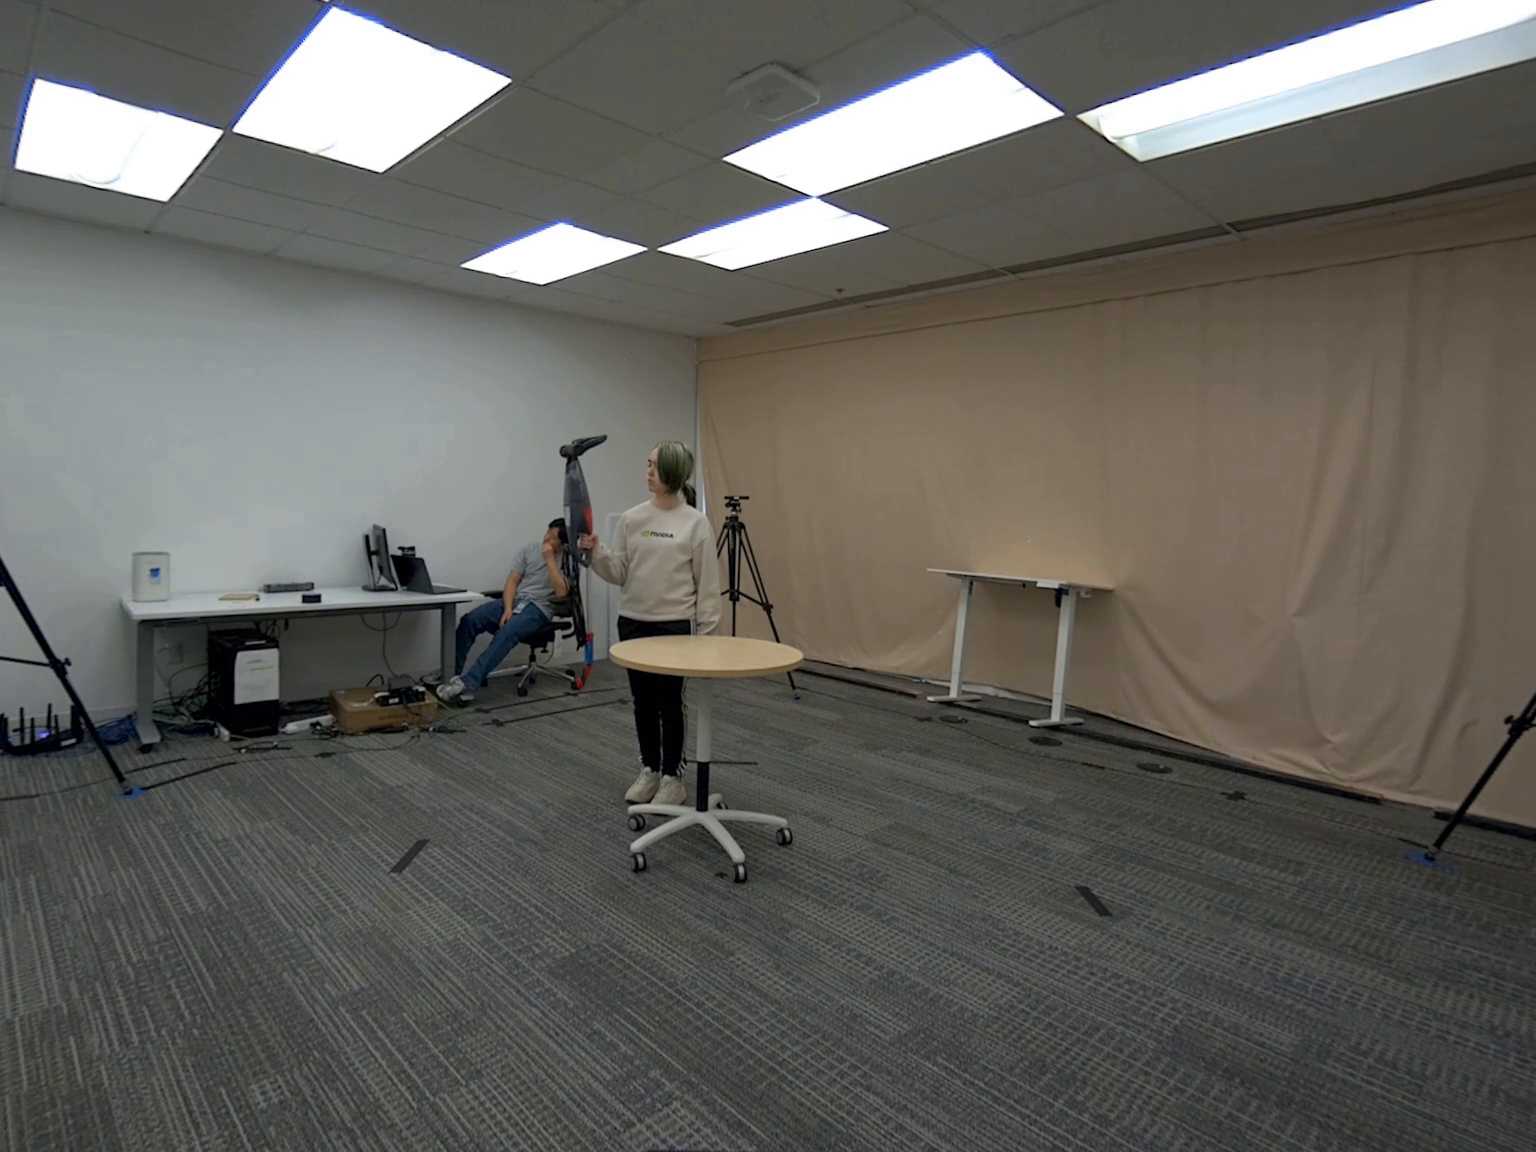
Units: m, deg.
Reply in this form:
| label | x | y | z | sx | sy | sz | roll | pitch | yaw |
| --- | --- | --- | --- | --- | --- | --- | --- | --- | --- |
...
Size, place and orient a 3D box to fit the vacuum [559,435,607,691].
| label | x | y | z | sx | sy | sz | roll | pitch | yaw |
| --- | --- | --- | --- | --- | --- | --- | --- | --- | --- |
| vacuum | -0.825 | -0.054 | 3.619 | 0.140 | 1.048 | 0.259 | 0 | 1 | -40 |
